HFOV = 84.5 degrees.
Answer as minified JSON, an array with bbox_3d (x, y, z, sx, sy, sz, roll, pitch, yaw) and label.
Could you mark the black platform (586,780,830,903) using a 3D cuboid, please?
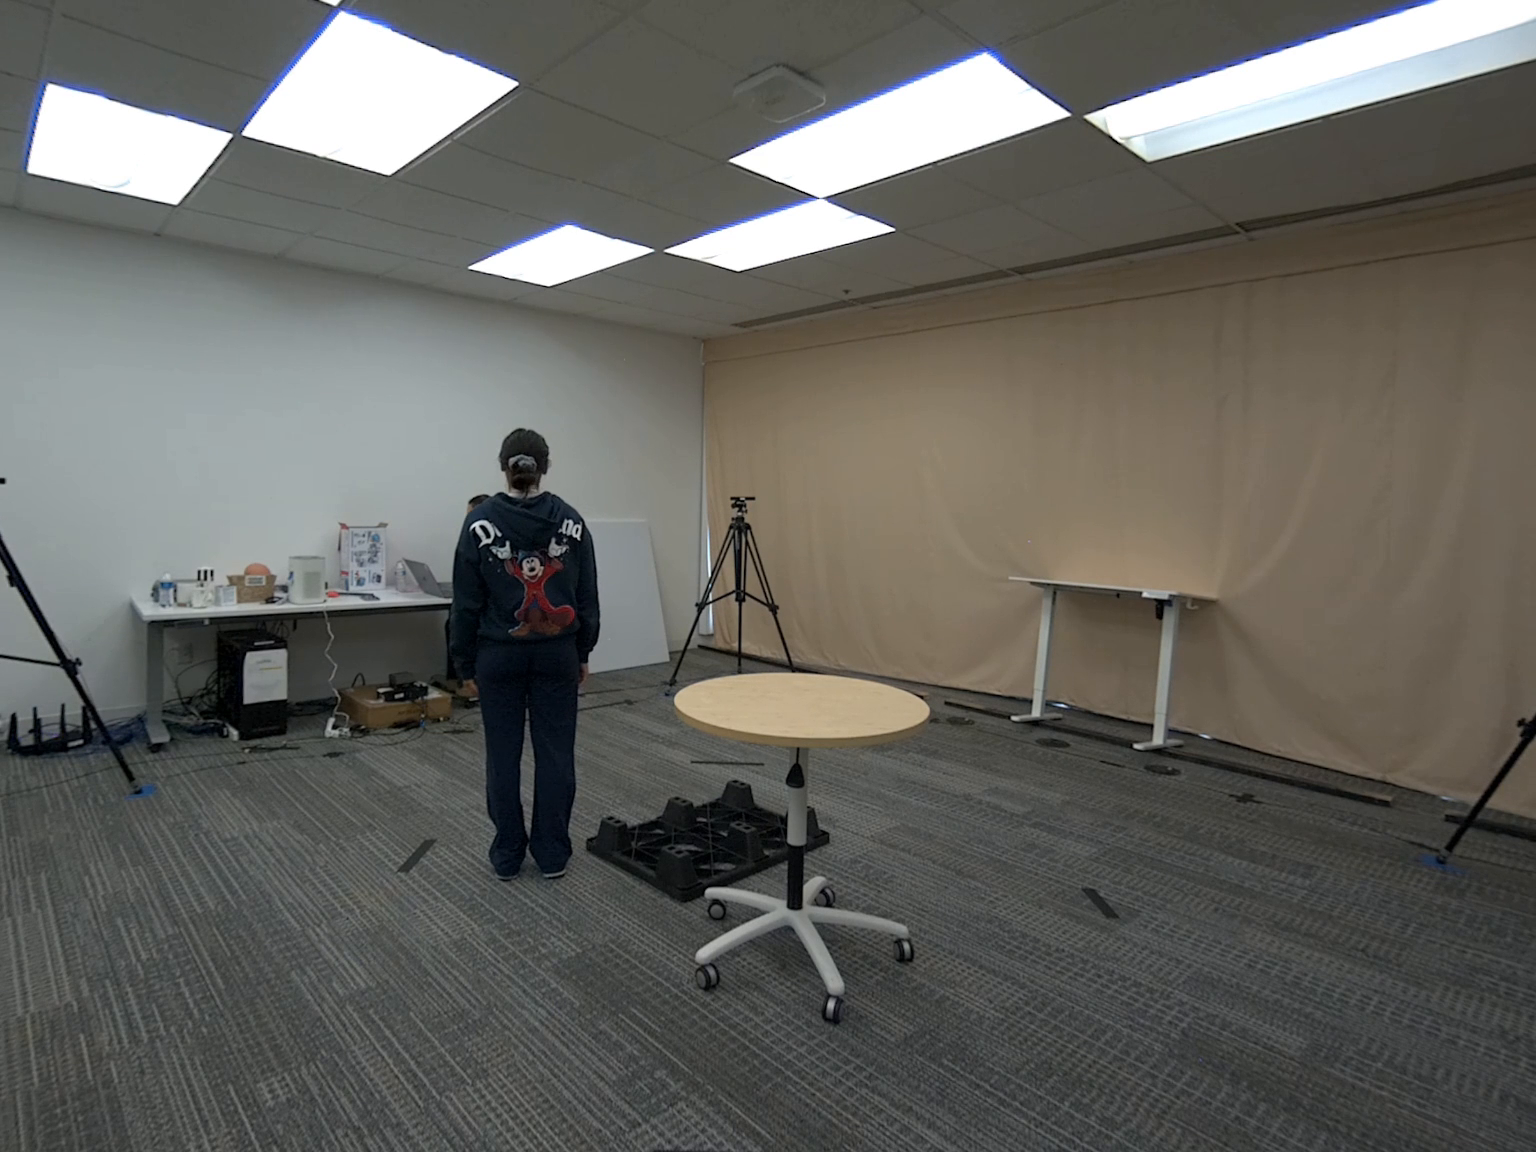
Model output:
[{"bbox_3d":[-0.237,1.016,3.359,0.620,0.143,0.787,6,7,44],"label":"black platform"}]
